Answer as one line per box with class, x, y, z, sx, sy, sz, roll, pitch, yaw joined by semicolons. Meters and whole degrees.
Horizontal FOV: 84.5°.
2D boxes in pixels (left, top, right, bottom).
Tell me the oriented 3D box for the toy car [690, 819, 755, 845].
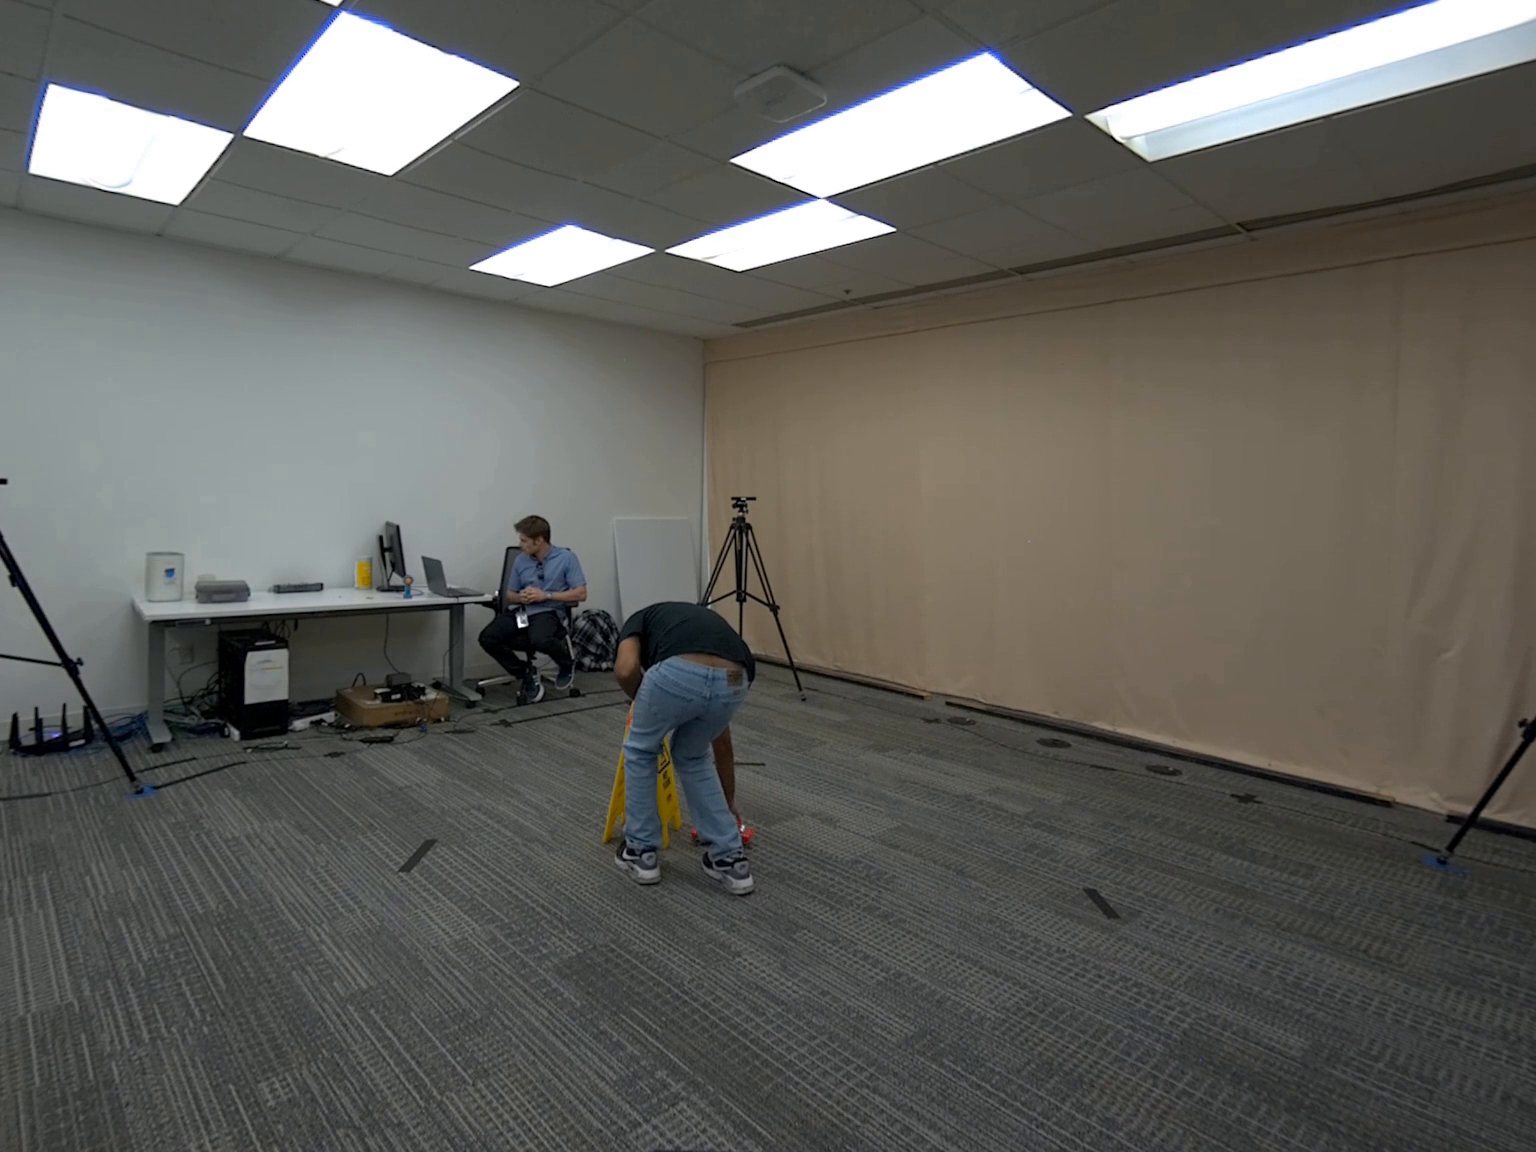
toy car;-0.193;1.049;3.403;0.256;0.083;0.130;-7;4;9
